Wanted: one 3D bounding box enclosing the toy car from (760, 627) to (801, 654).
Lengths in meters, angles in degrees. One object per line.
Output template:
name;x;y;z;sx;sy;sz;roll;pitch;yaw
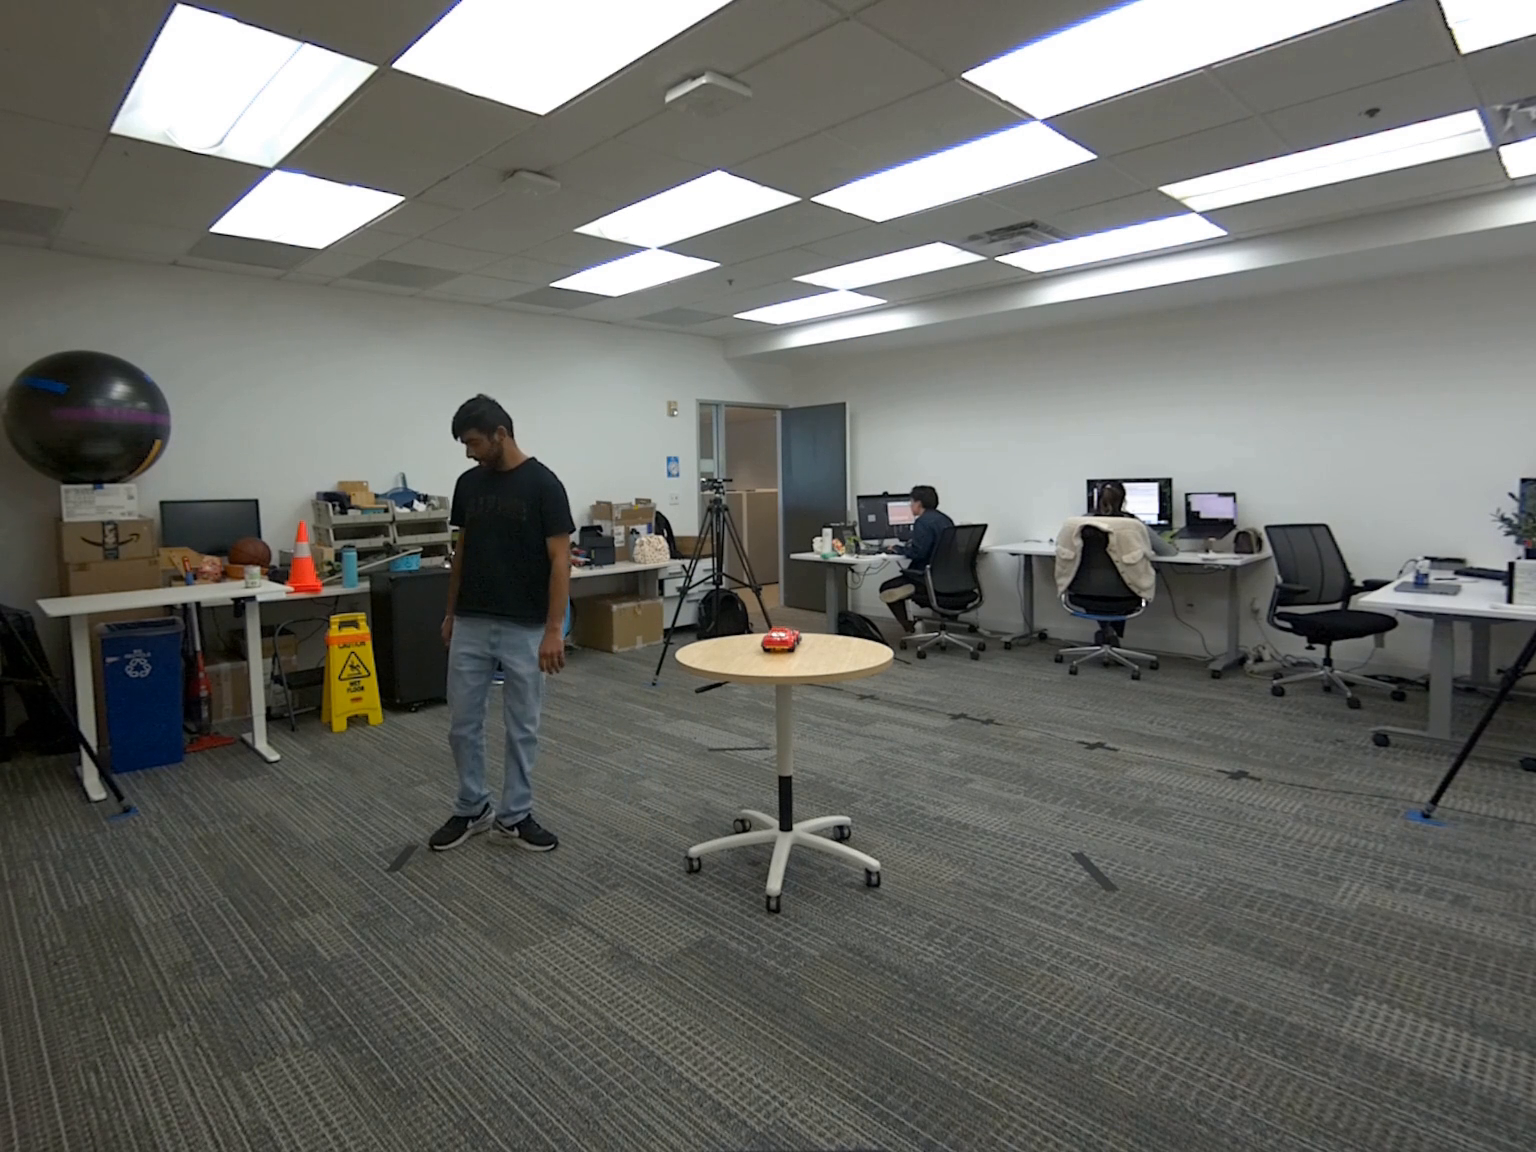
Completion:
toy car;0.047;0.231;3.077;0.132;0.084;0.250;0;-6;10
